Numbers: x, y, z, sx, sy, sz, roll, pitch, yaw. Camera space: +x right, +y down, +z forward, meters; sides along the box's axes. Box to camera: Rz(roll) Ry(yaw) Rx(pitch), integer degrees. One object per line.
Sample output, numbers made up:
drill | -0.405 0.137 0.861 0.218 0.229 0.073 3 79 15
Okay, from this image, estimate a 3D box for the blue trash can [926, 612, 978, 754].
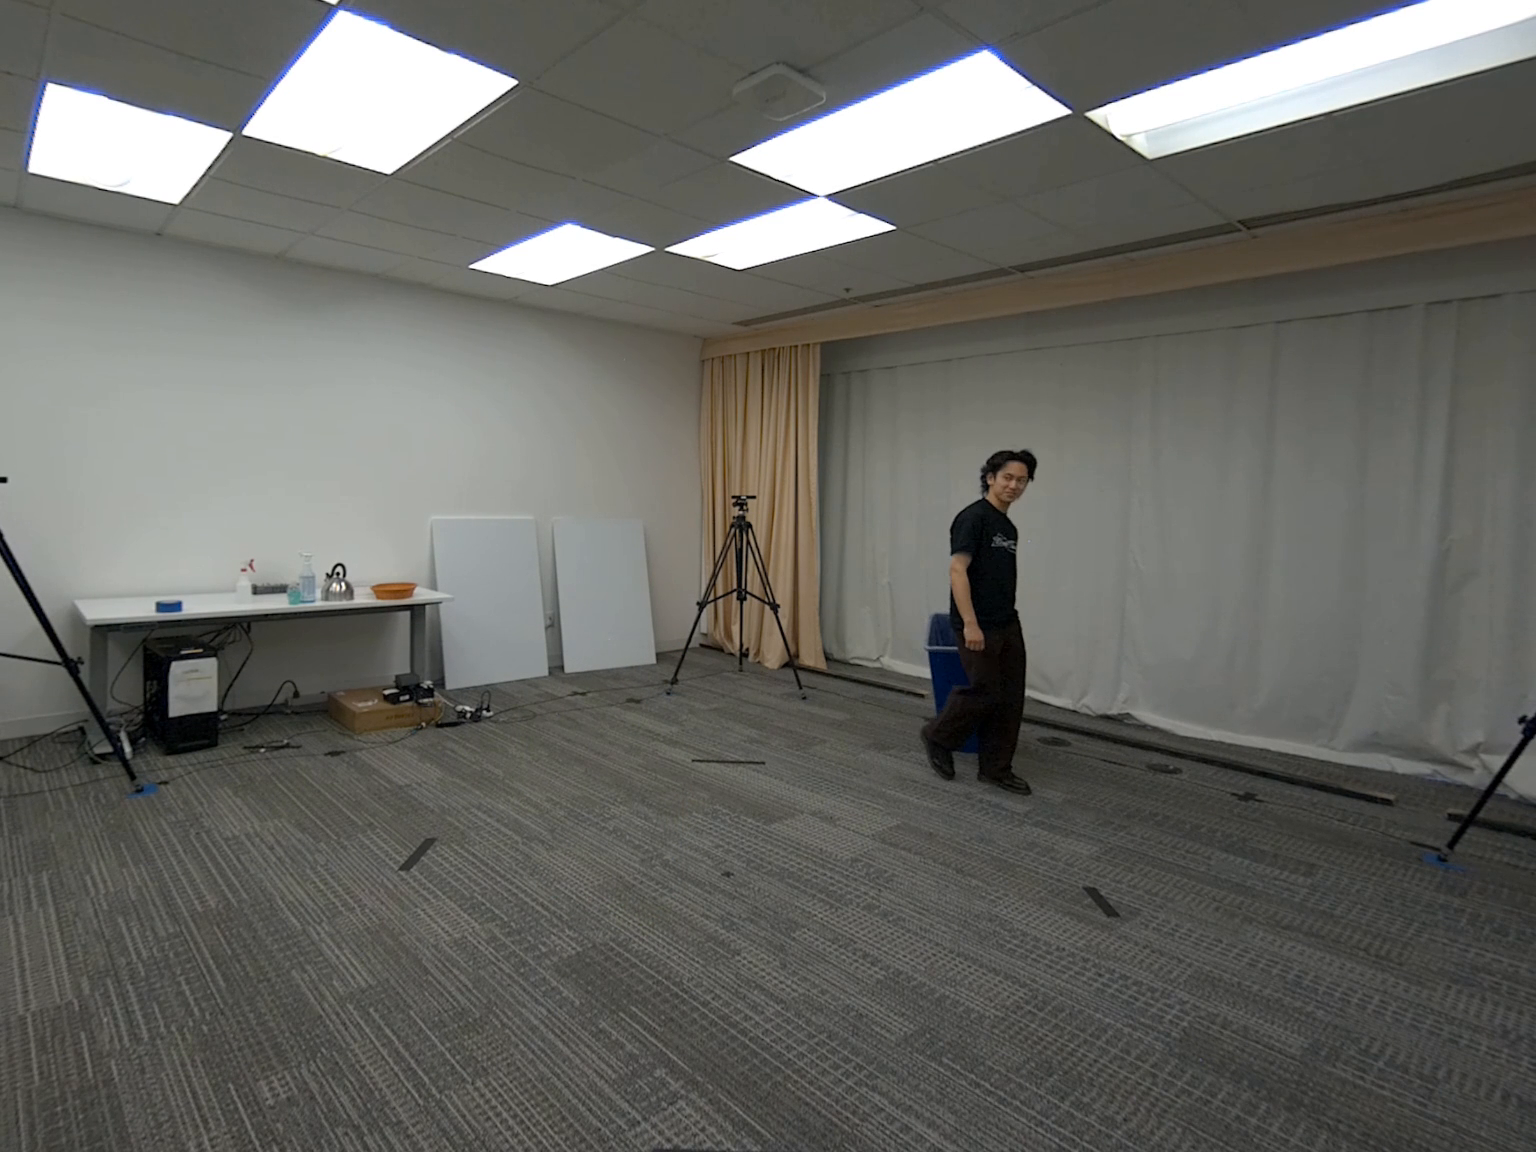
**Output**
blue trash can | 1.071 0.600 4.682 0.384 0.700 0.375 -2 25 20
